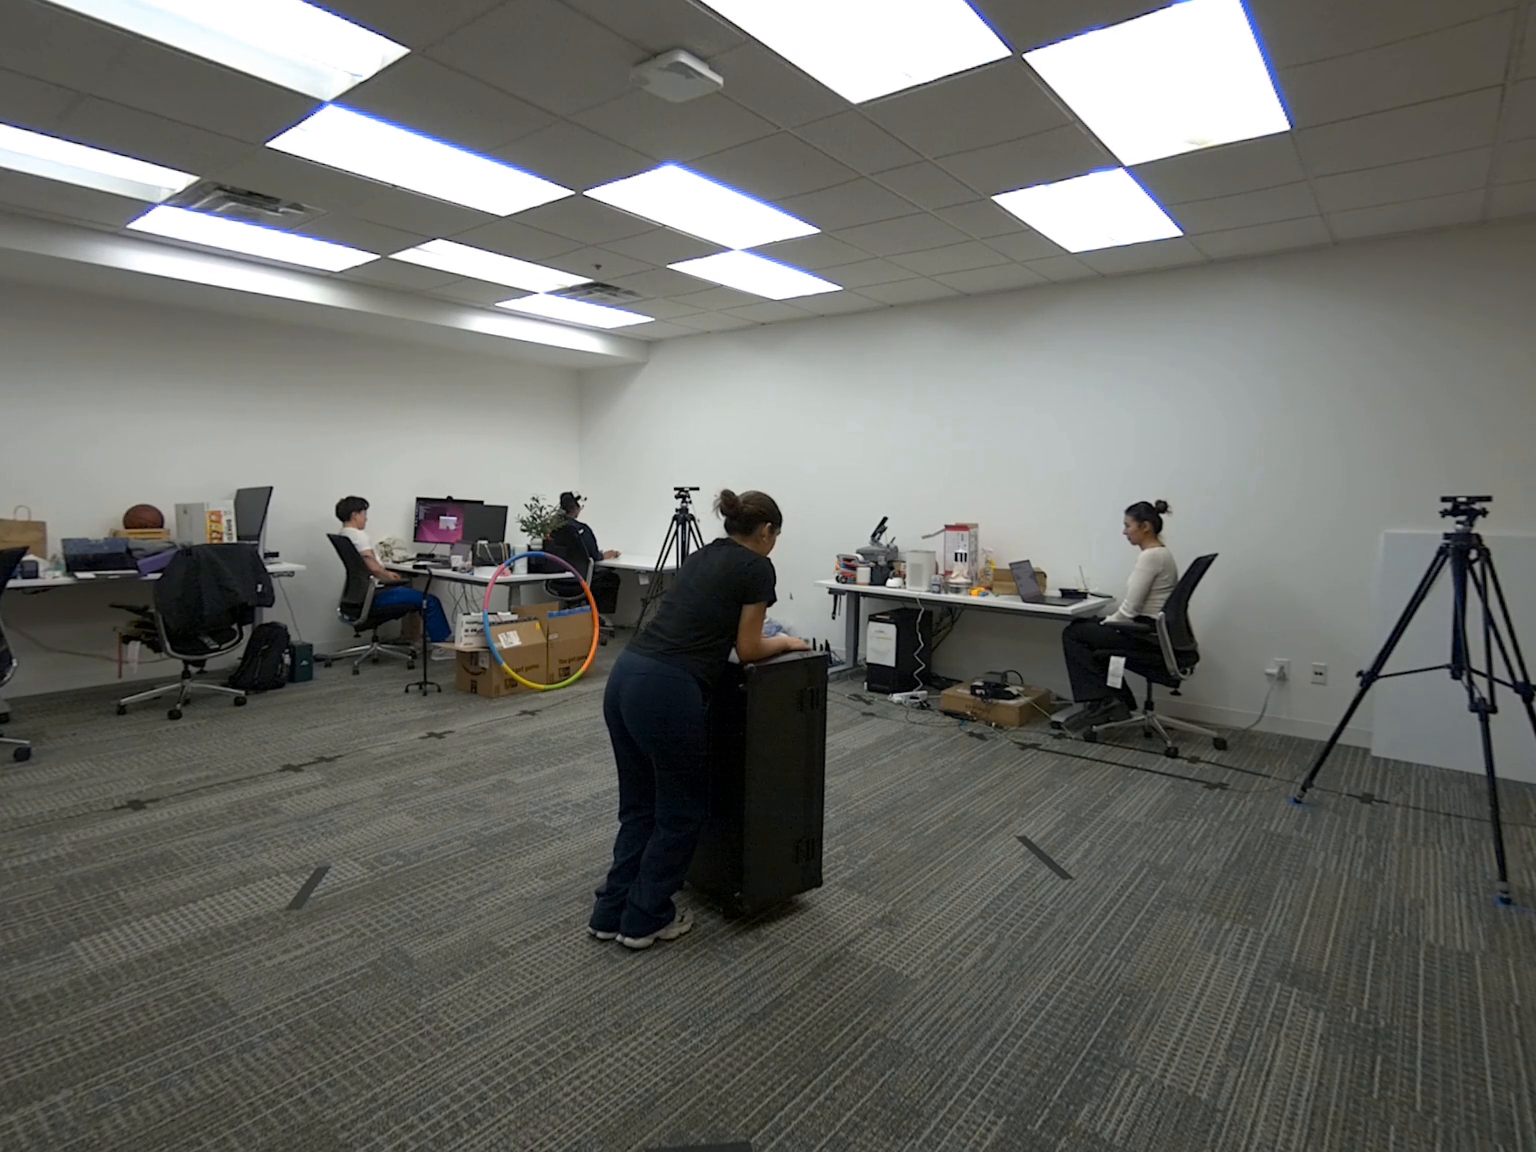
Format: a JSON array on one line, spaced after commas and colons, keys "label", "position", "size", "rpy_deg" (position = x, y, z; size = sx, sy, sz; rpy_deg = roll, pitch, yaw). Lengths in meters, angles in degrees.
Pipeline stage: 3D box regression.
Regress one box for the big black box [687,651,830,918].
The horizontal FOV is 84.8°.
[{"label": "big black box", "position": [-0.093, 0.605, 2.900], "size": [0.384, 0.859, 0.539], "rpy_deg": [-1, 4, -39]}]
